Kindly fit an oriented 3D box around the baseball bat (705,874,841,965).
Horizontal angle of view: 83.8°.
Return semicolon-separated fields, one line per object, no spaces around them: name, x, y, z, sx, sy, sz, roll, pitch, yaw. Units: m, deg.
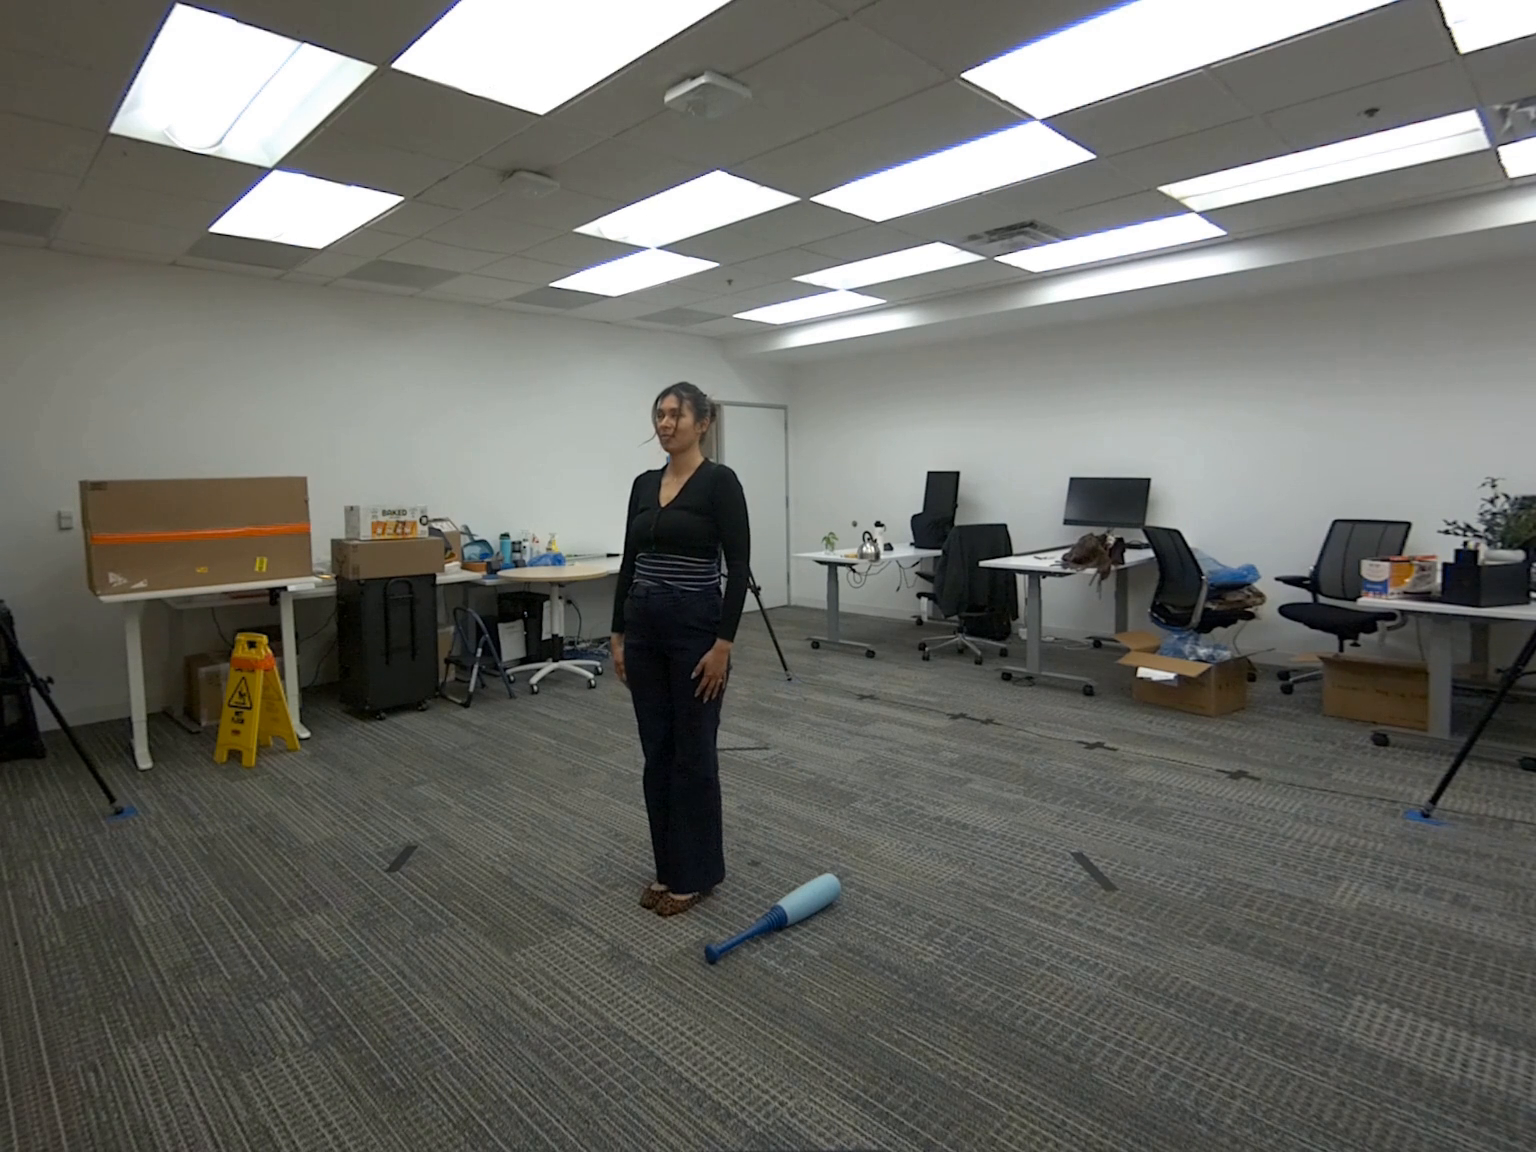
baseball bat;0.029;1.064;2.641;0.530;0.088;0.092;-11;11;-41
